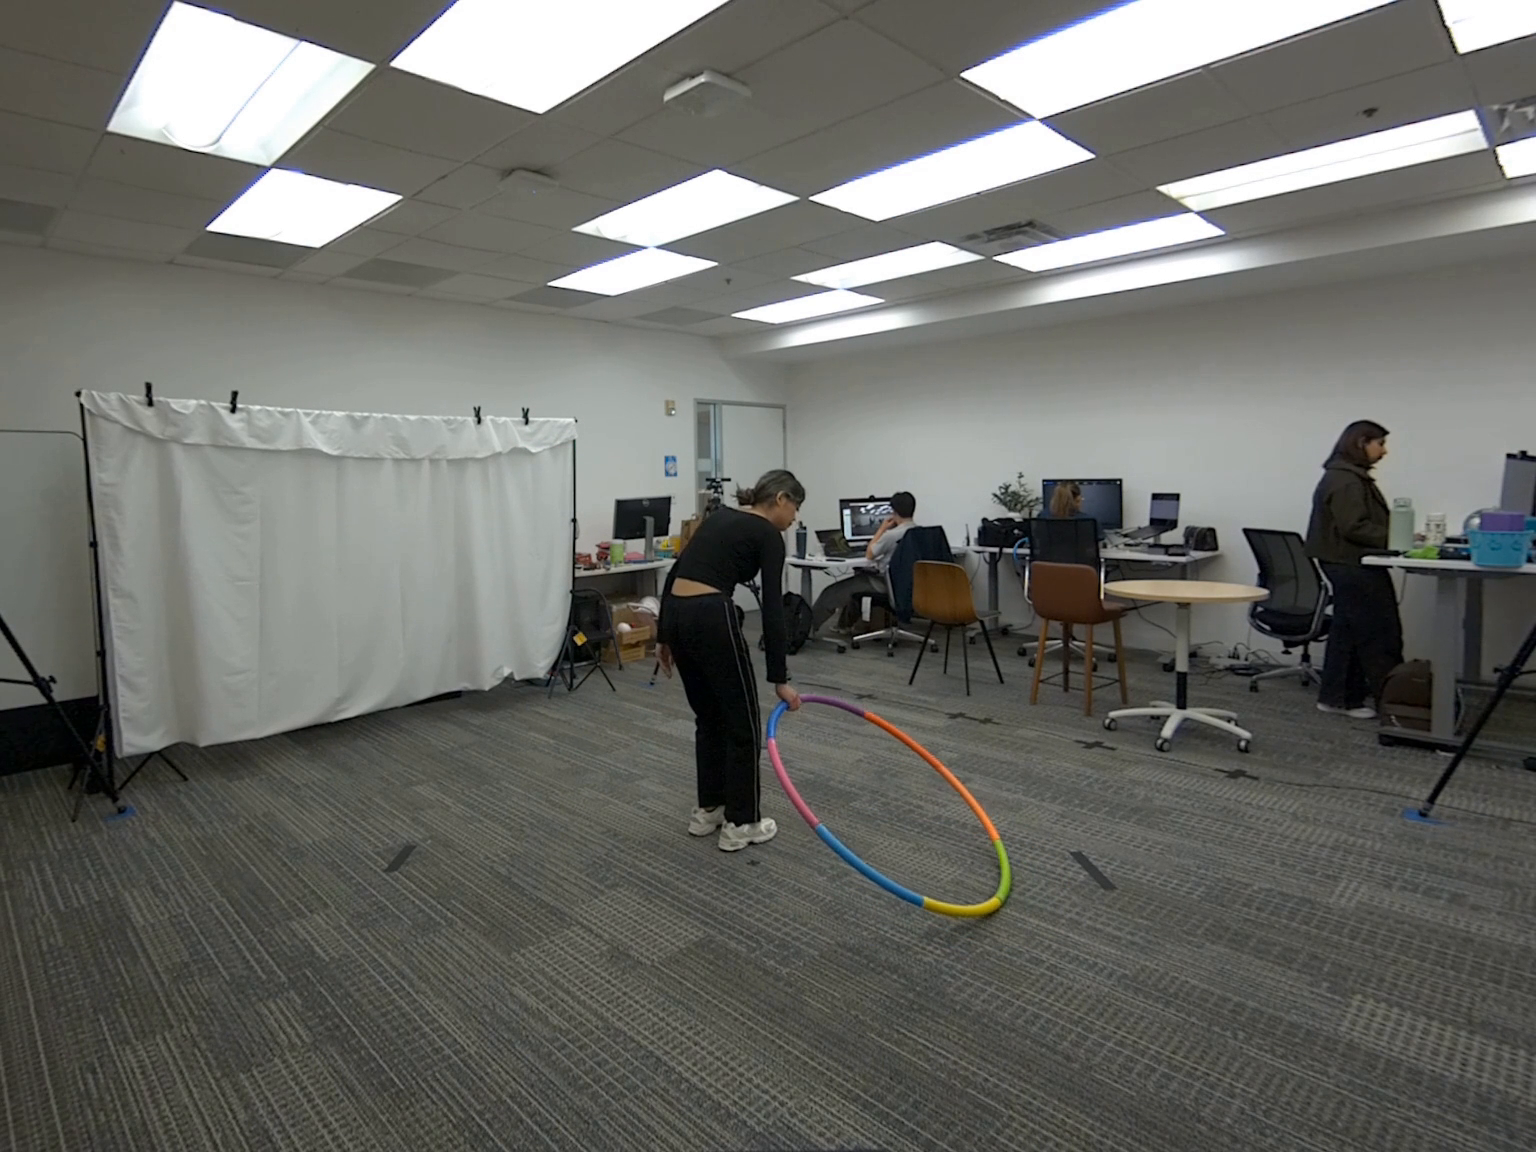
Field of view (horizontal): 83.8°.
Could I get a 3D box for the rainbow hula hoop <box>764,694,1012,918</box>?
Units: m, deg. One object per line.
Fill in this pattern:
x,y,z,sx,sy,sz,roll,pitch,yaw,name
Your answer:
0.419,0.755,2.995,0.964,0.035,0.999,26,21,-13,rainbow hula hoop
